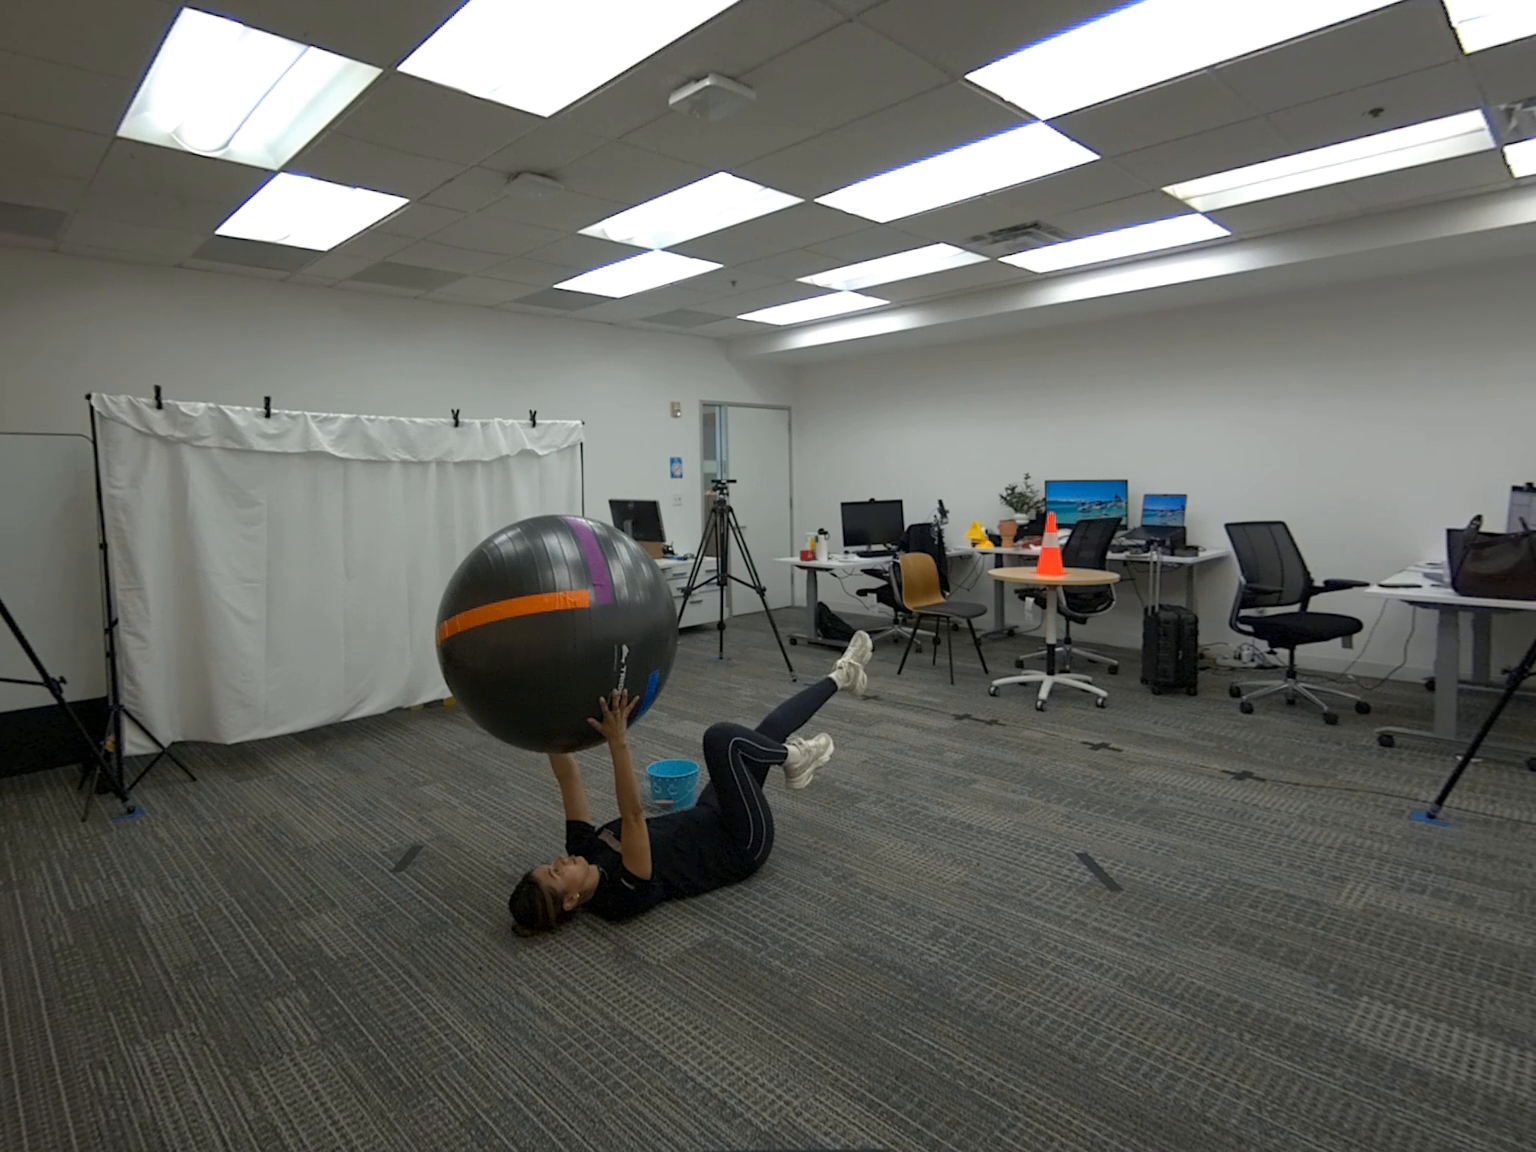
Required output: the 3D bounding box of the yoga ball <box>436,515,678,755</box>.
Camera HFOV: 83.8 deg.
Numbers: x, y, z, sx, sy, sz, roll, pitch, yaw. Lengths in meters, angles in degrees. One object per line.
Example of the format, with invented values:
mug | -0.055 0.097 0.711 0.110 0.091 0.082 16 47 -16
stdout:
yoga ball | -0.665 0.183 2.743 0.757 0.757 0.759 0 1 -2
